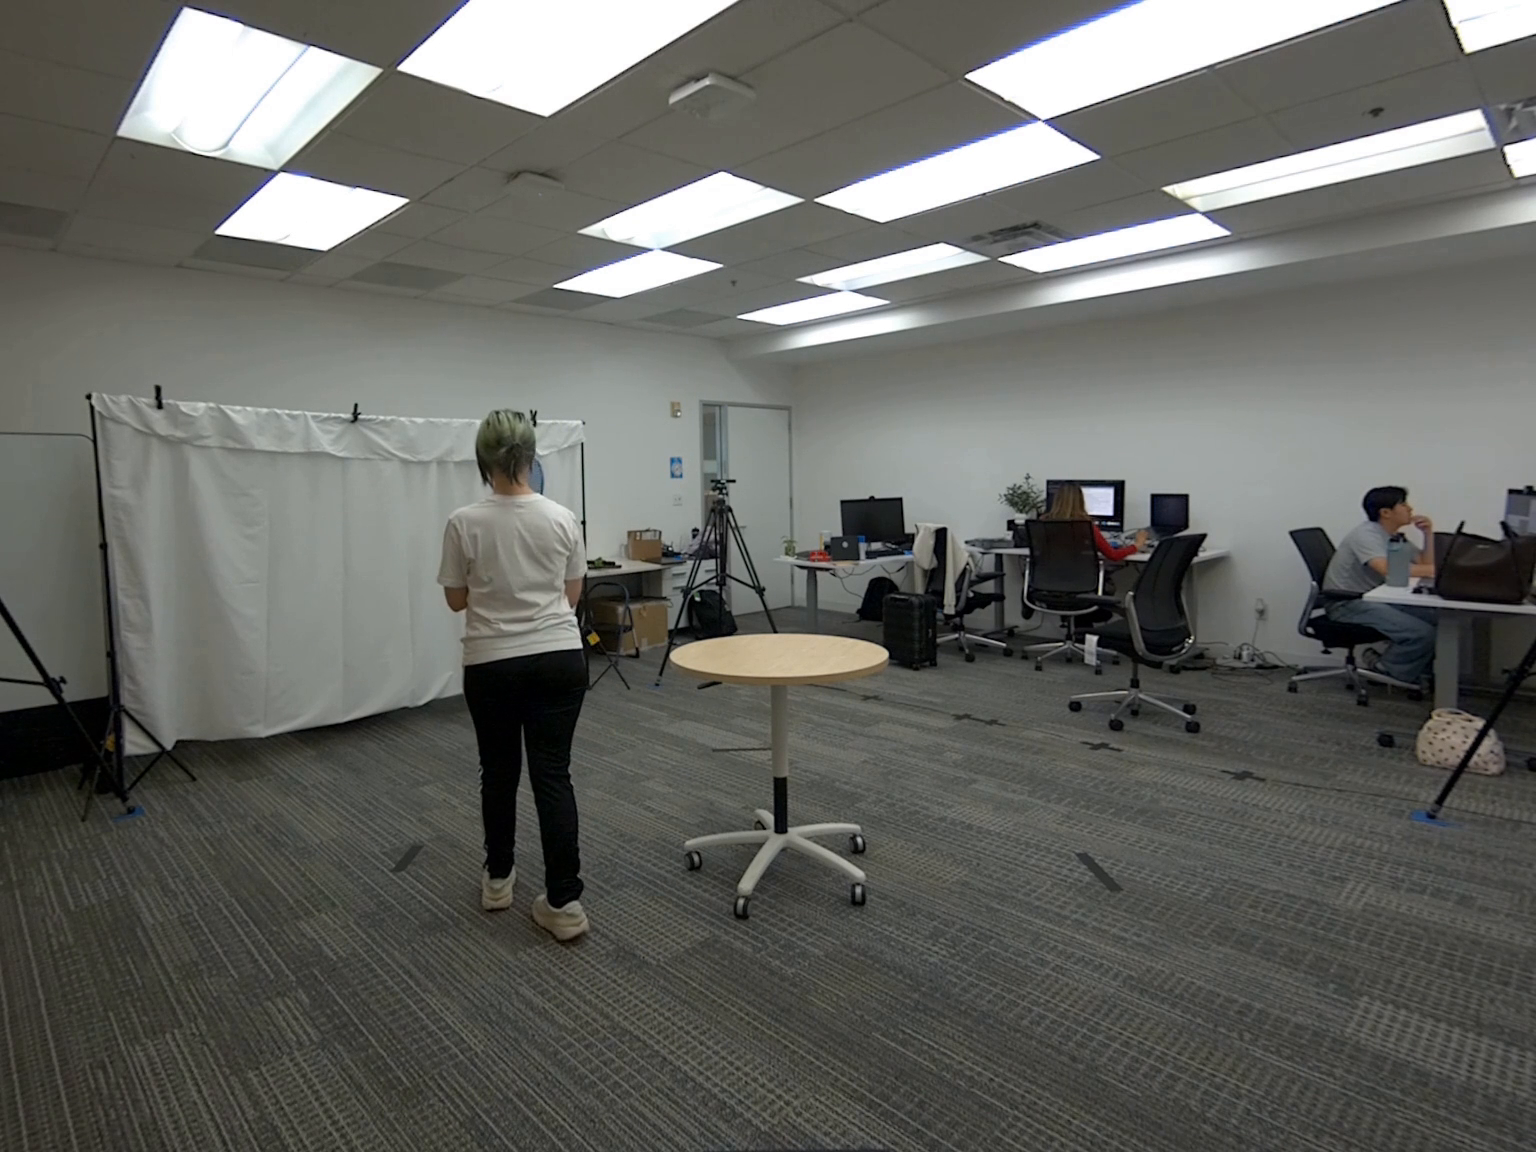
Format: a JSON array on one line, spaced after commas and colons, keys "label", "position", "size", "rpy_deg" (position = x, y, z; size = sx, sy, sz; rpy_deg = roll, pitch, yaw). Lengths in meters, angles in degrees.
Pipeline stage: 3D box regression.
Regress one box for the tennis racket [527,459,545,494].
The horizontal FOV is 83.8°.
[{"label": "tennis racket", "position": [-0.866, -0.232, 3.042], "size": [0.217, 0.442, 0.031], "rpy_deg": [-21, -22, 27]}]
